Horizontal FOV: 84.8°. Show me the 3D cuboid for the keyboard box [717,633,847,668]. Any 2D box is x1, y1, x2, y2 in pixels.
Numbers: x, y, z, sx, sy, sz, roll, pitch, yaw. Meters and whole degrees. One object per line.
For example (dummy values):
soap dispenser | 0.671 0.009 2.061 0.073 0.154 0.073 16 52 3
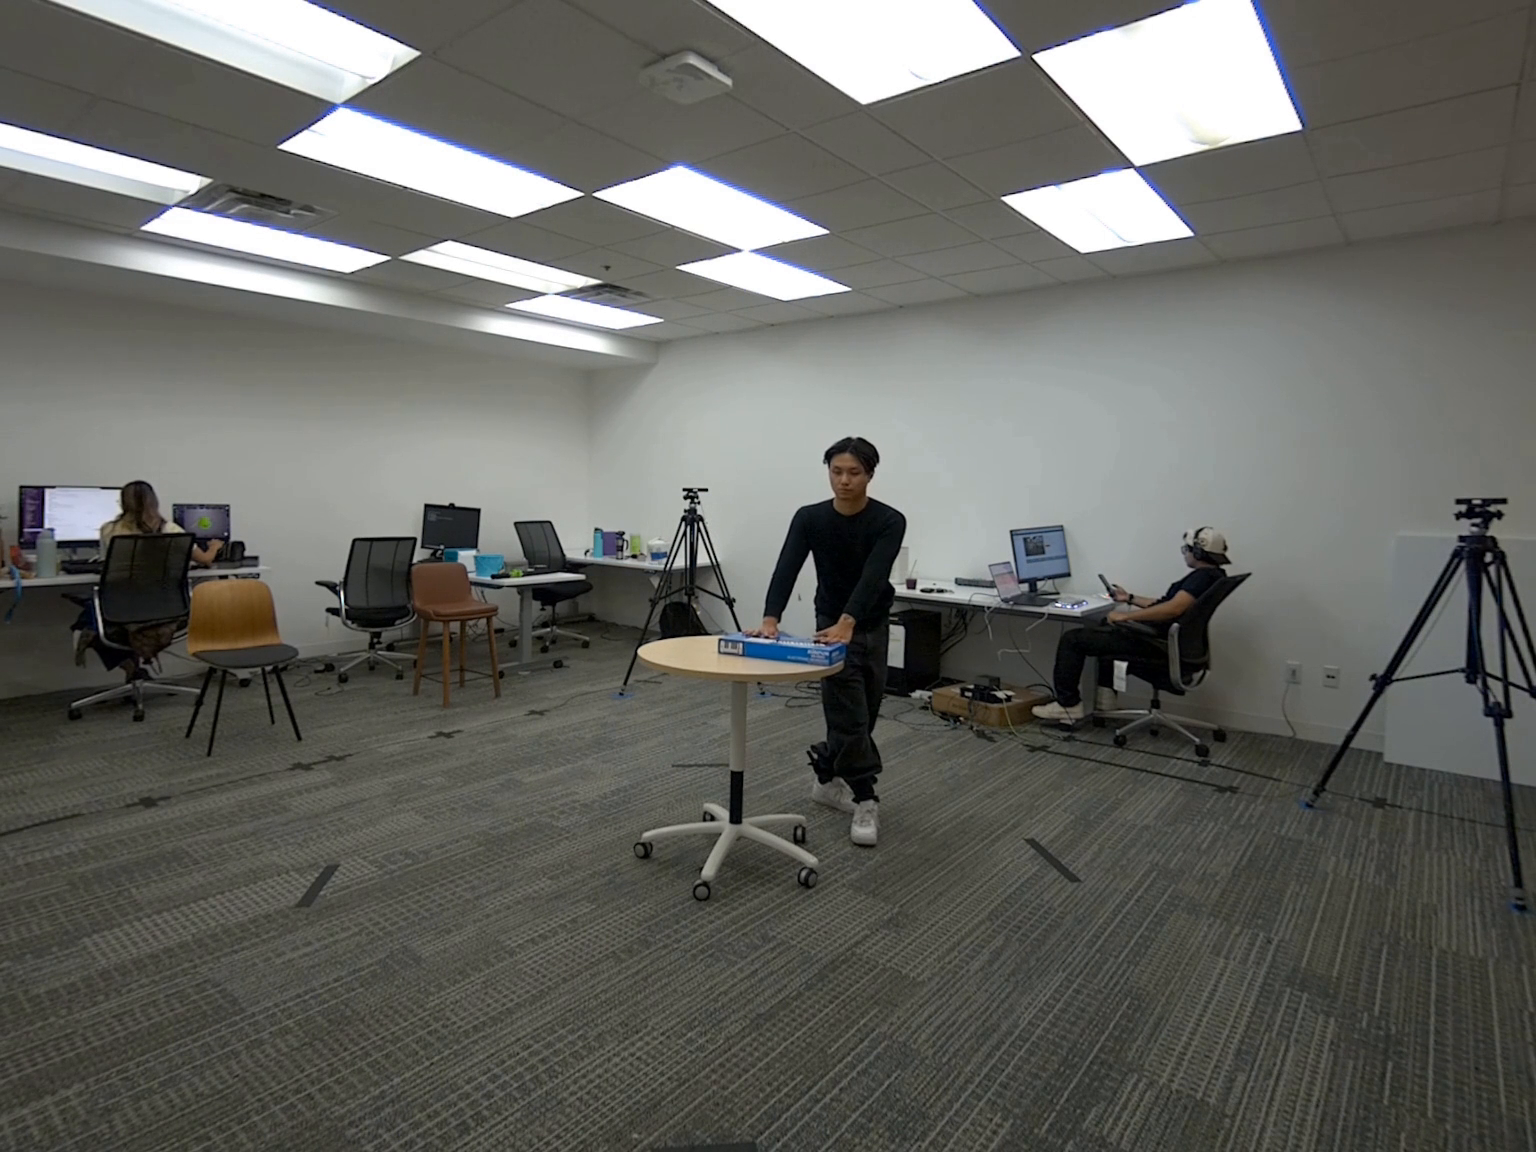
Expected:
keyboard box | 0.041 0.264 3.124 0.448 0.059 0.172 3 5 25
